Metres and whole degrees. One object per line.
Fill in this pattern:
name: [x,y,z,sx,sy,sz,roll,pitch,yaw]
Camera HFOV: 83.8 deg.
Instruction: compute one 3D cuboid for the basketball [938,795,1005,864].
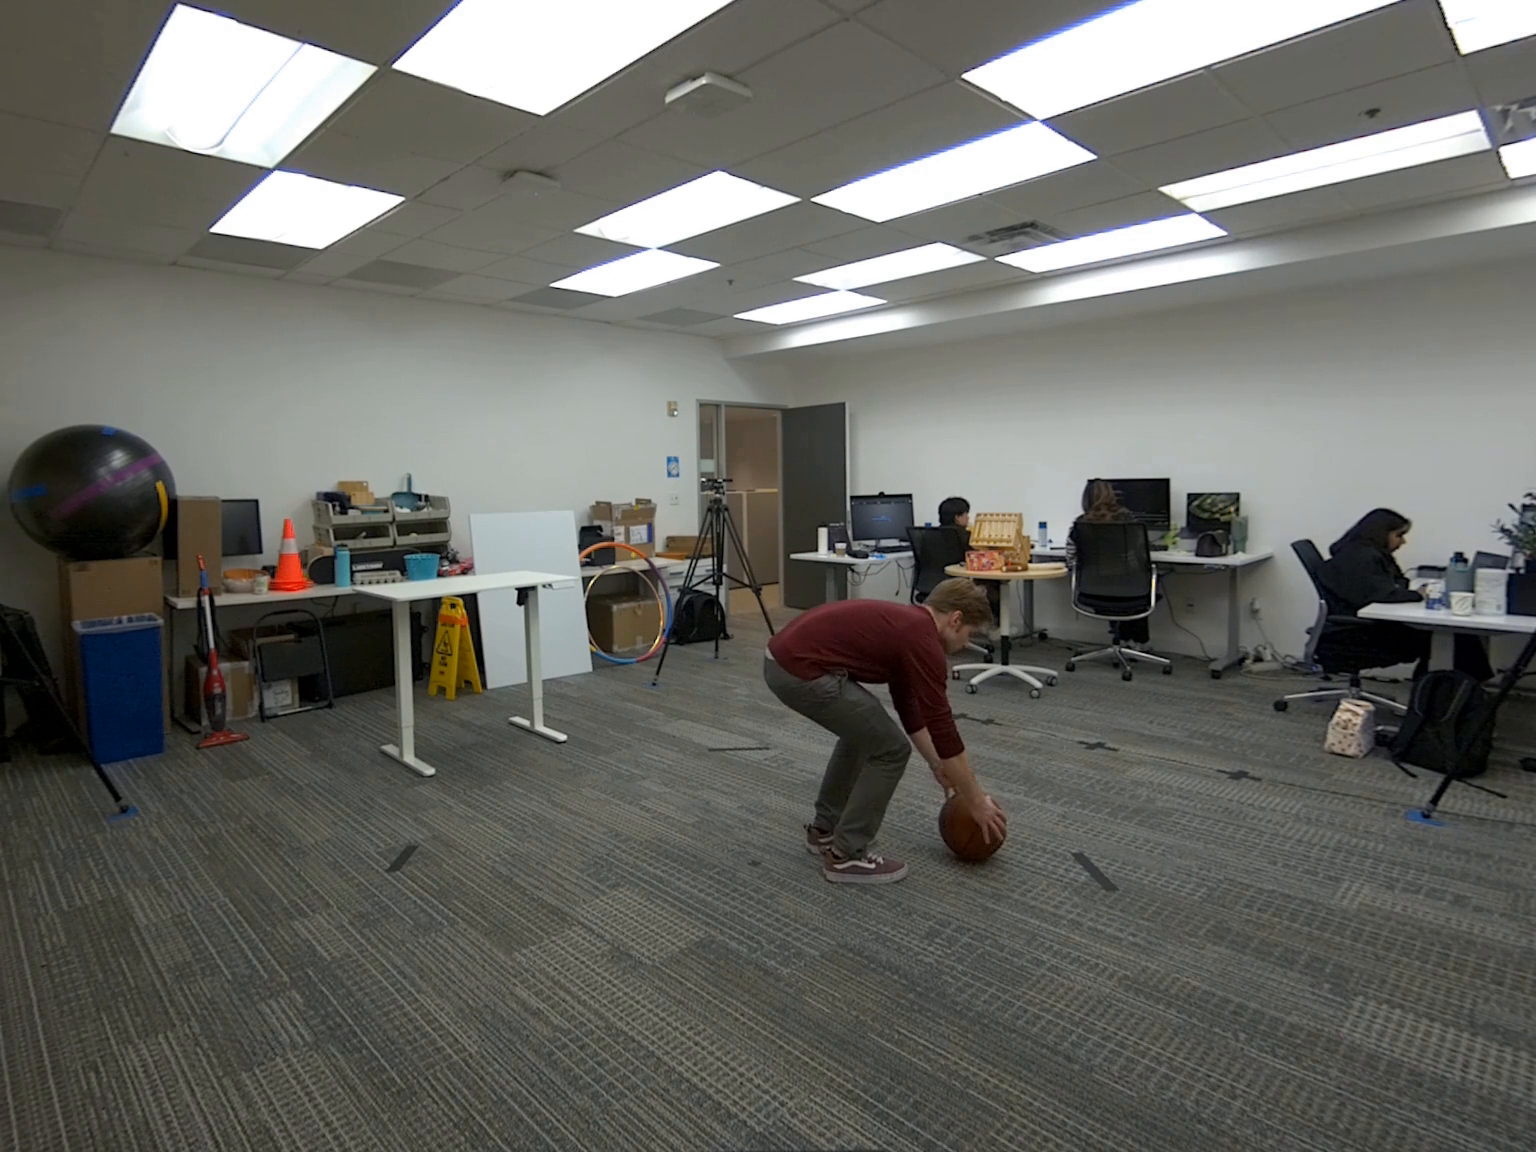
basketball: [0.755,0.907,3.115,0.236,0.235,0.237,-1,5,-2]
